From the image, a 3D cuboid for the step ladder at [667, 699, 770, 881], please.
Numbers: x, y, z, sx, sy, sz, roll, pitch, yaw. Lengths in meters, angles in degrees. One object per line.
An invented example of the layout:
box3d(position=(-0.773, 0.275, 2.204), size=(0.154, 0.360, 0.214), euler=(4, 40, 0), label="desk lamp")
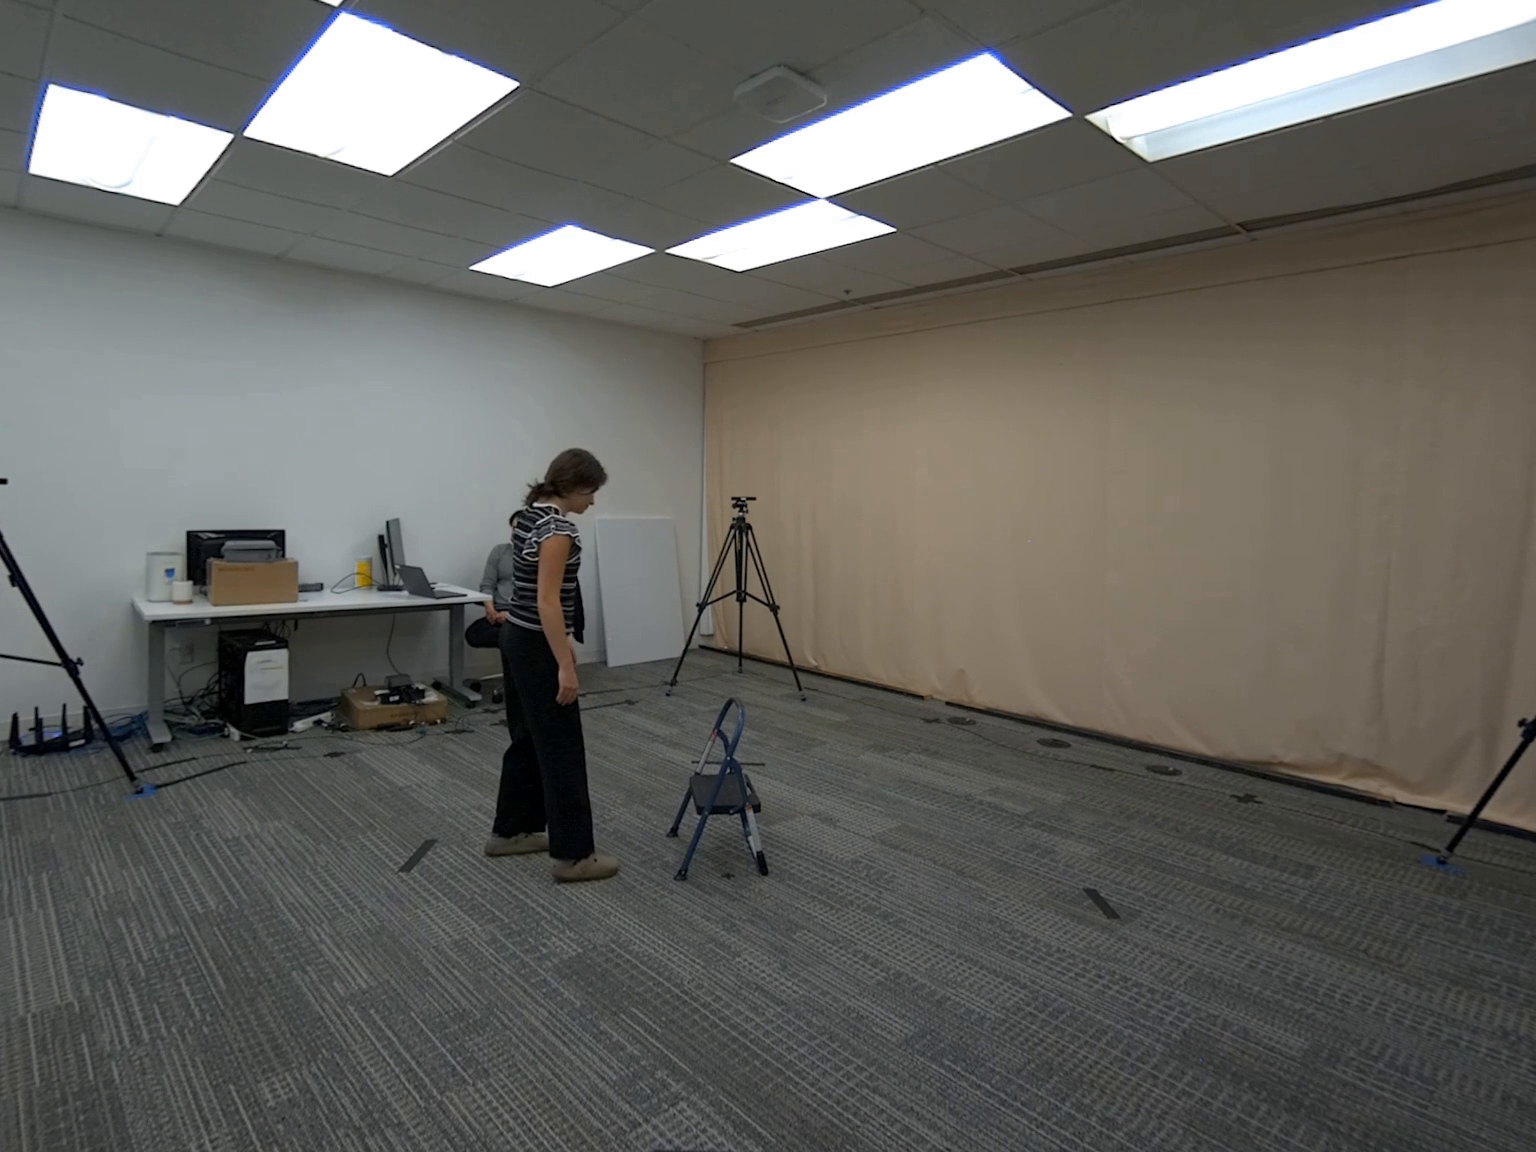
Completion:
box3d(position=(-0.203, 0.794, 3.275), size=(0.346, 0.604, 0.435), euler=(1, 4, -10), label="step ladder")
